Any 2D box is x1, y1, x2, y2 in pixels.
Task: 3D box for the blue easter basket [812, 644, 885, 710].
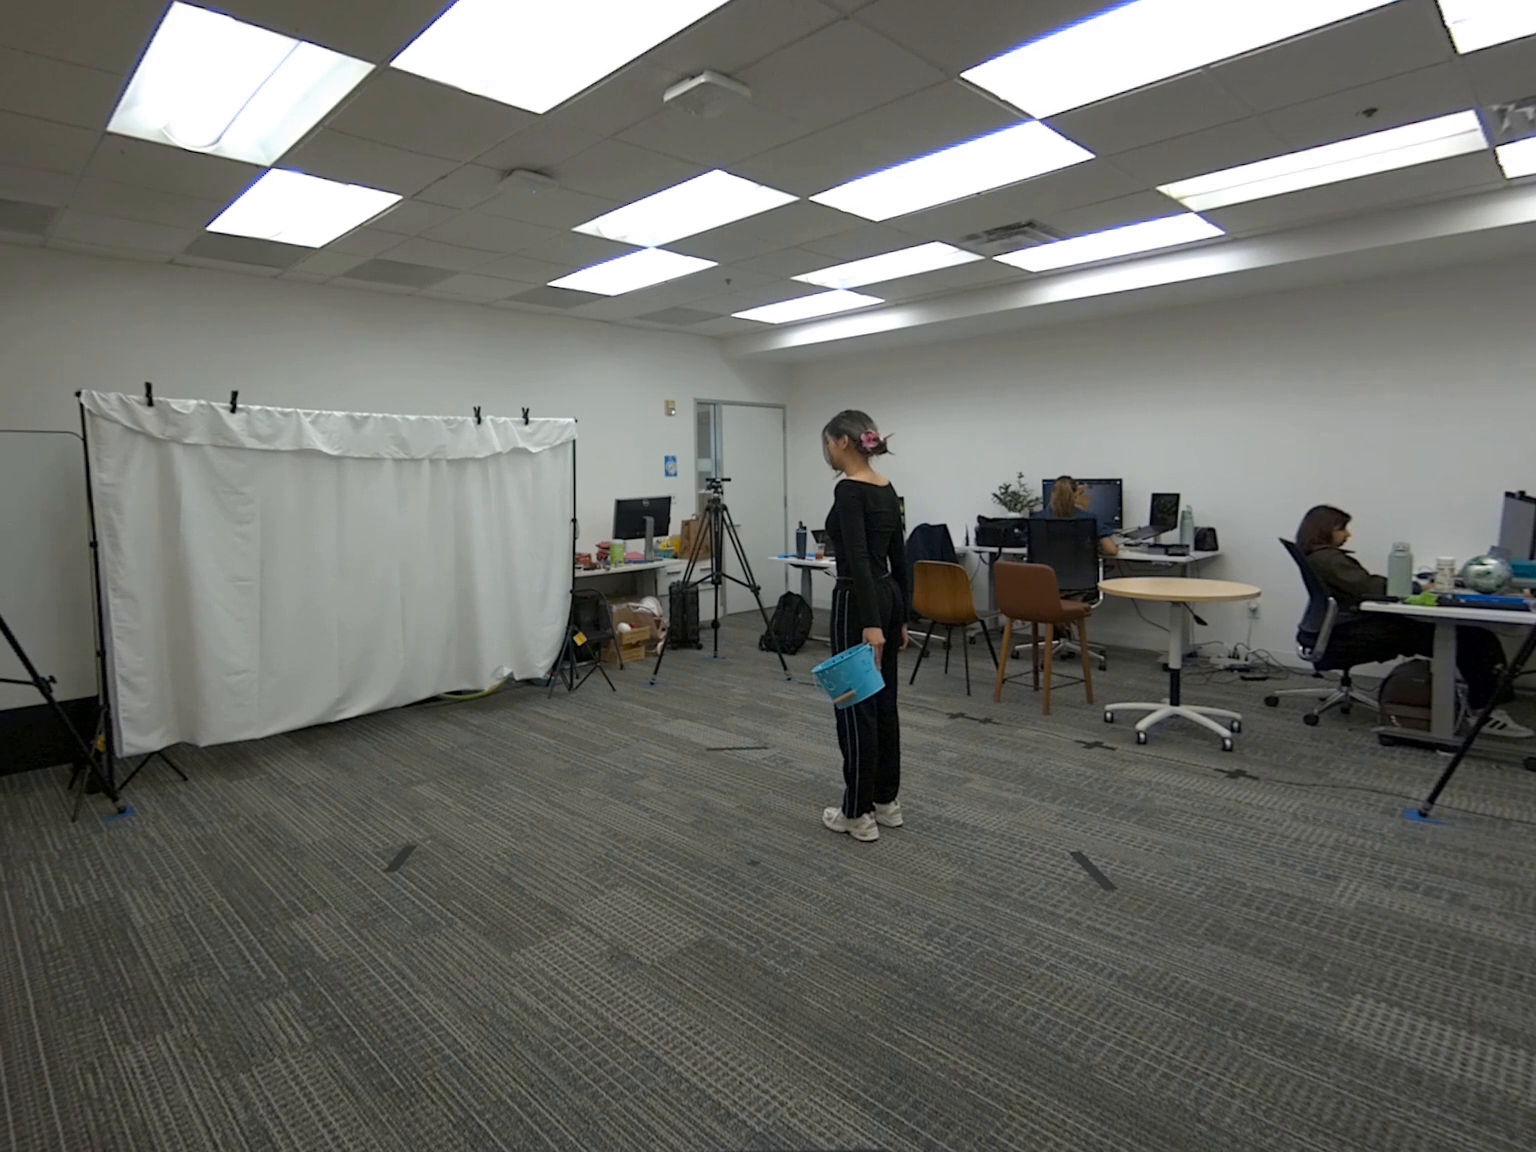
[{"bbox_3d":[0.273,0.353,2.940,0.243,0.157,0.242,-27,-4,-4],"label":"blue easter basket"}]
